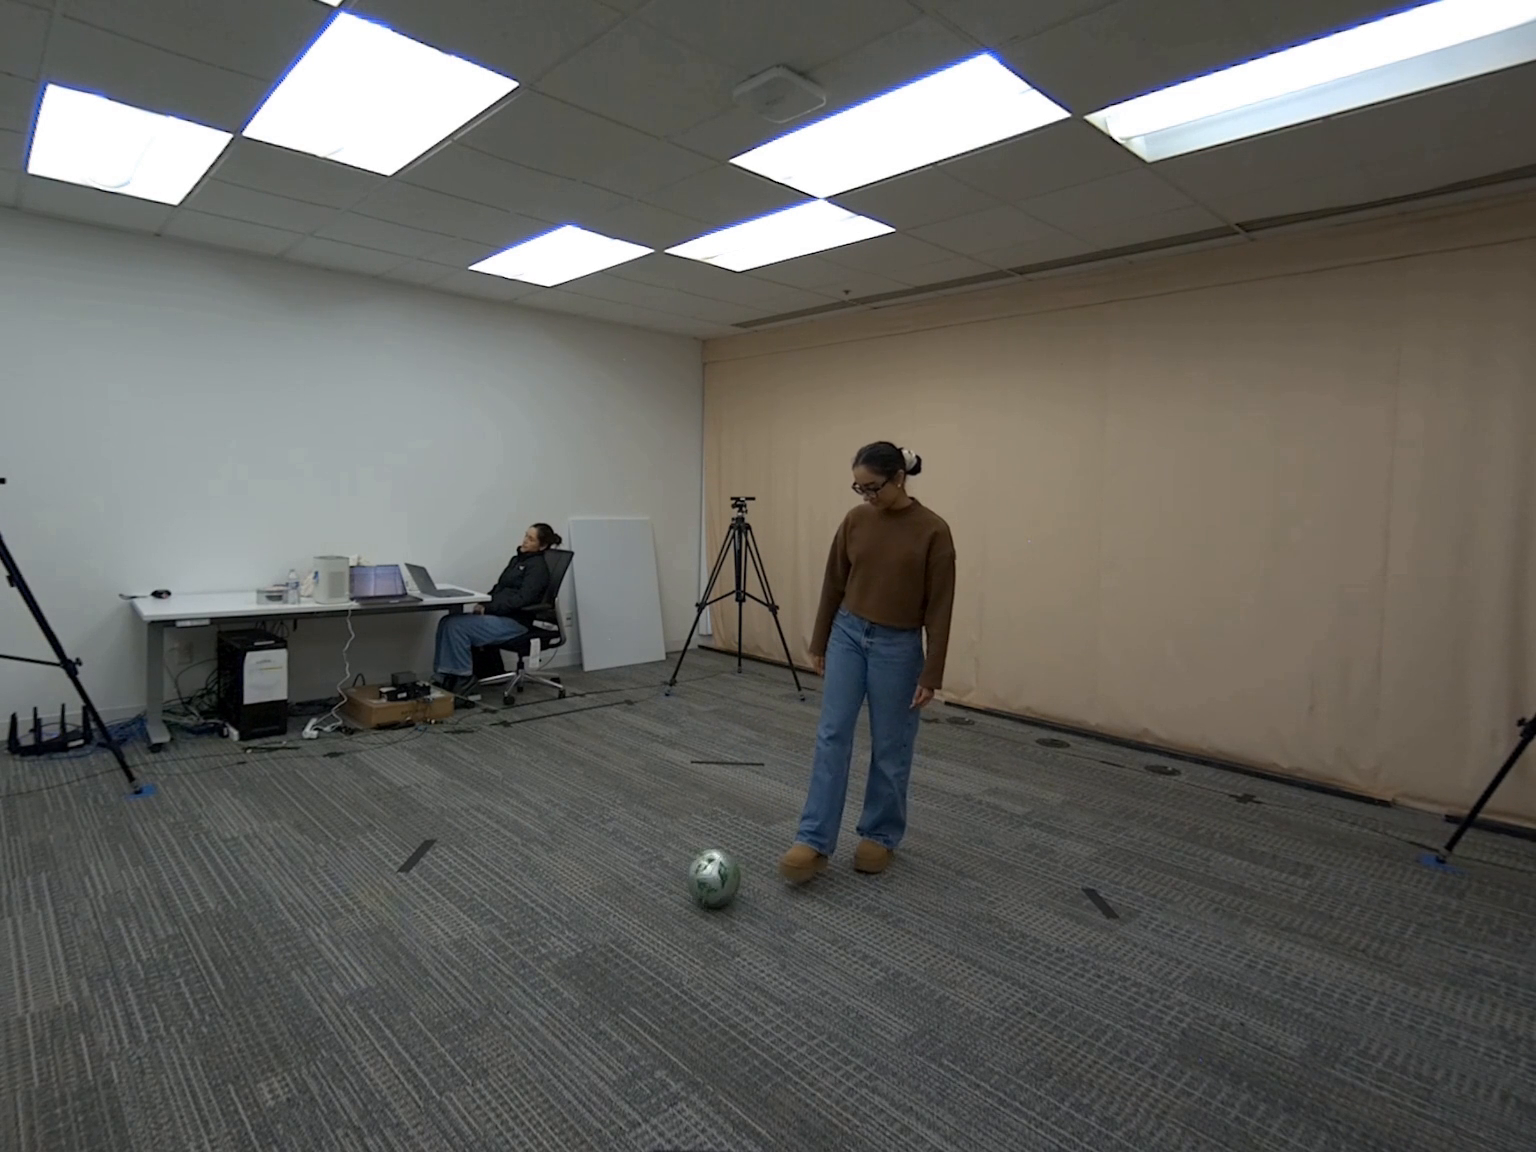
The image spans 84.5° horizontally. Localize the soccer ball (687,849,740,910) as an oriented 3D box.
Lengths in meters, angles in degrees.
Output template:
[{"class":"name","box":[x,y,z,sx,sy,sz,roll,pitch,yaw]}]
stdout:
[{"class":"soccer ball","box":[-0.192,1.032,2.875,0.187,0.187,0.188,1,4,-1]}]
